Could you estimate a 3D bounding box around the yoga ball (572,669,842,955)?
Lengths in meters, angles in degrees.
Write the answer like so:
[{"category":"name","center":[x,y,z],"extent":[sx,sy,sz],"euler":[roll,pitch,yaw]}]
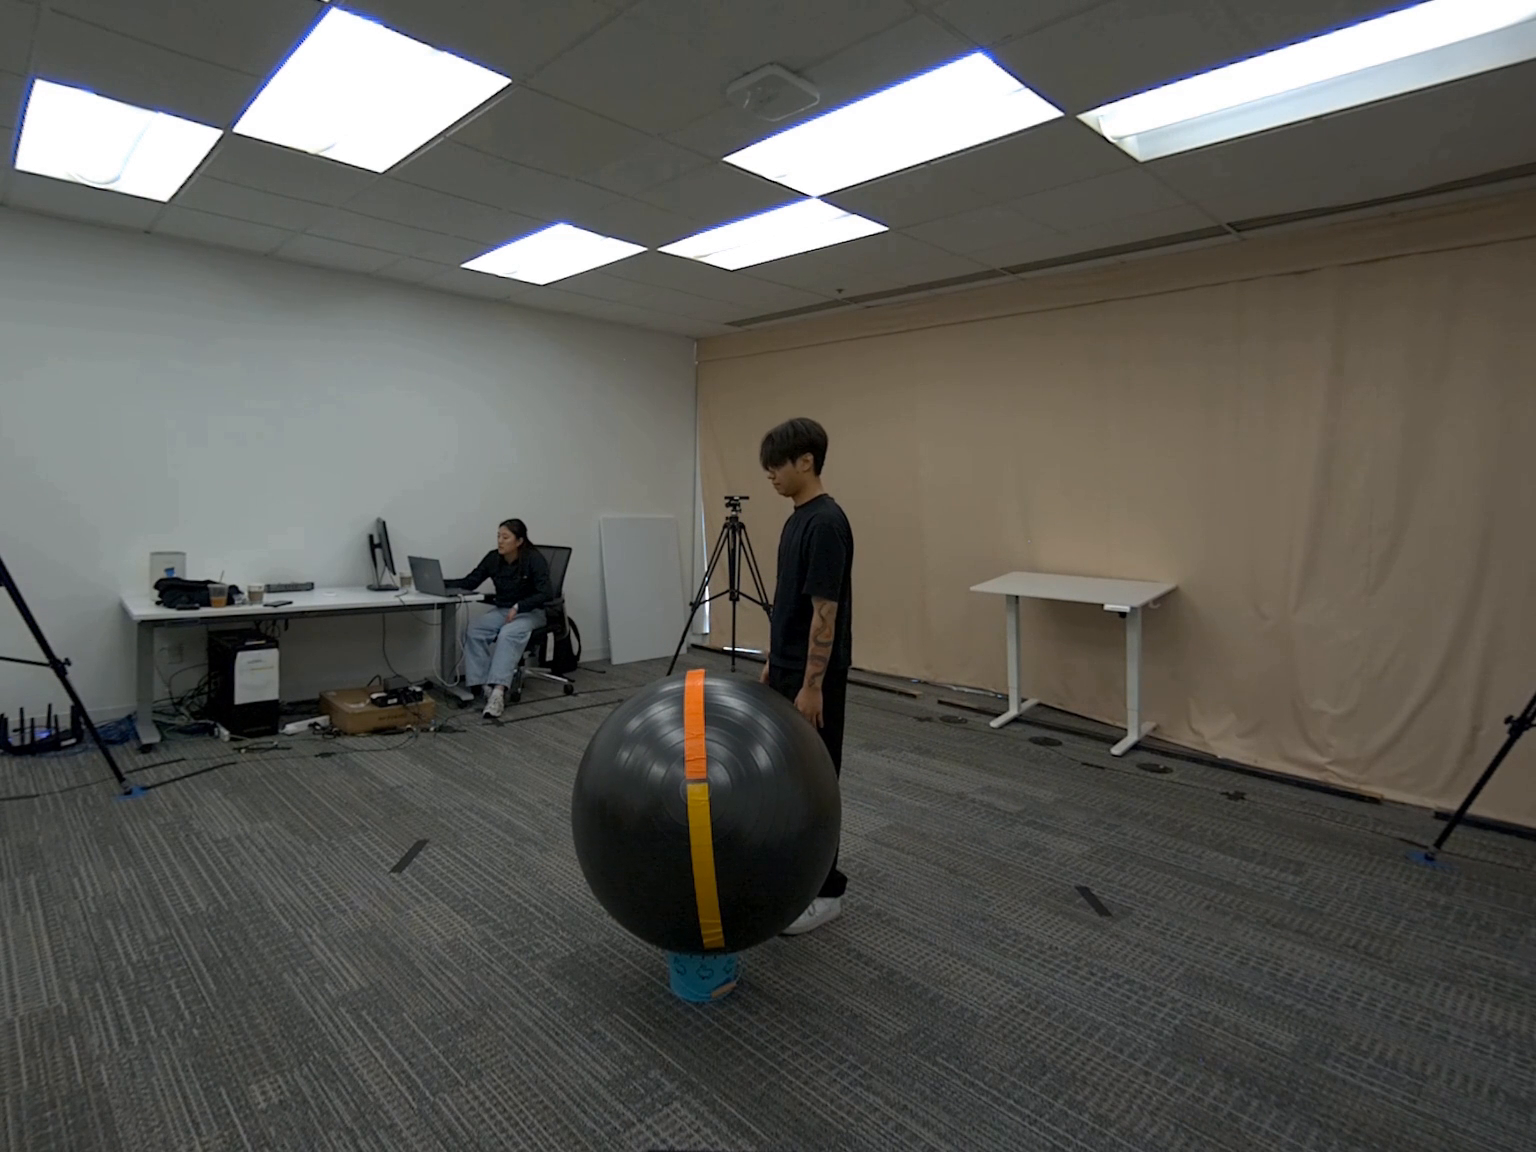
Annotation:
[{"category":"yoga ball","center":[-0.179,0.665,2.370],"extent":[0.757,0.756,0.761],"euler":[1,4,-1]}]
